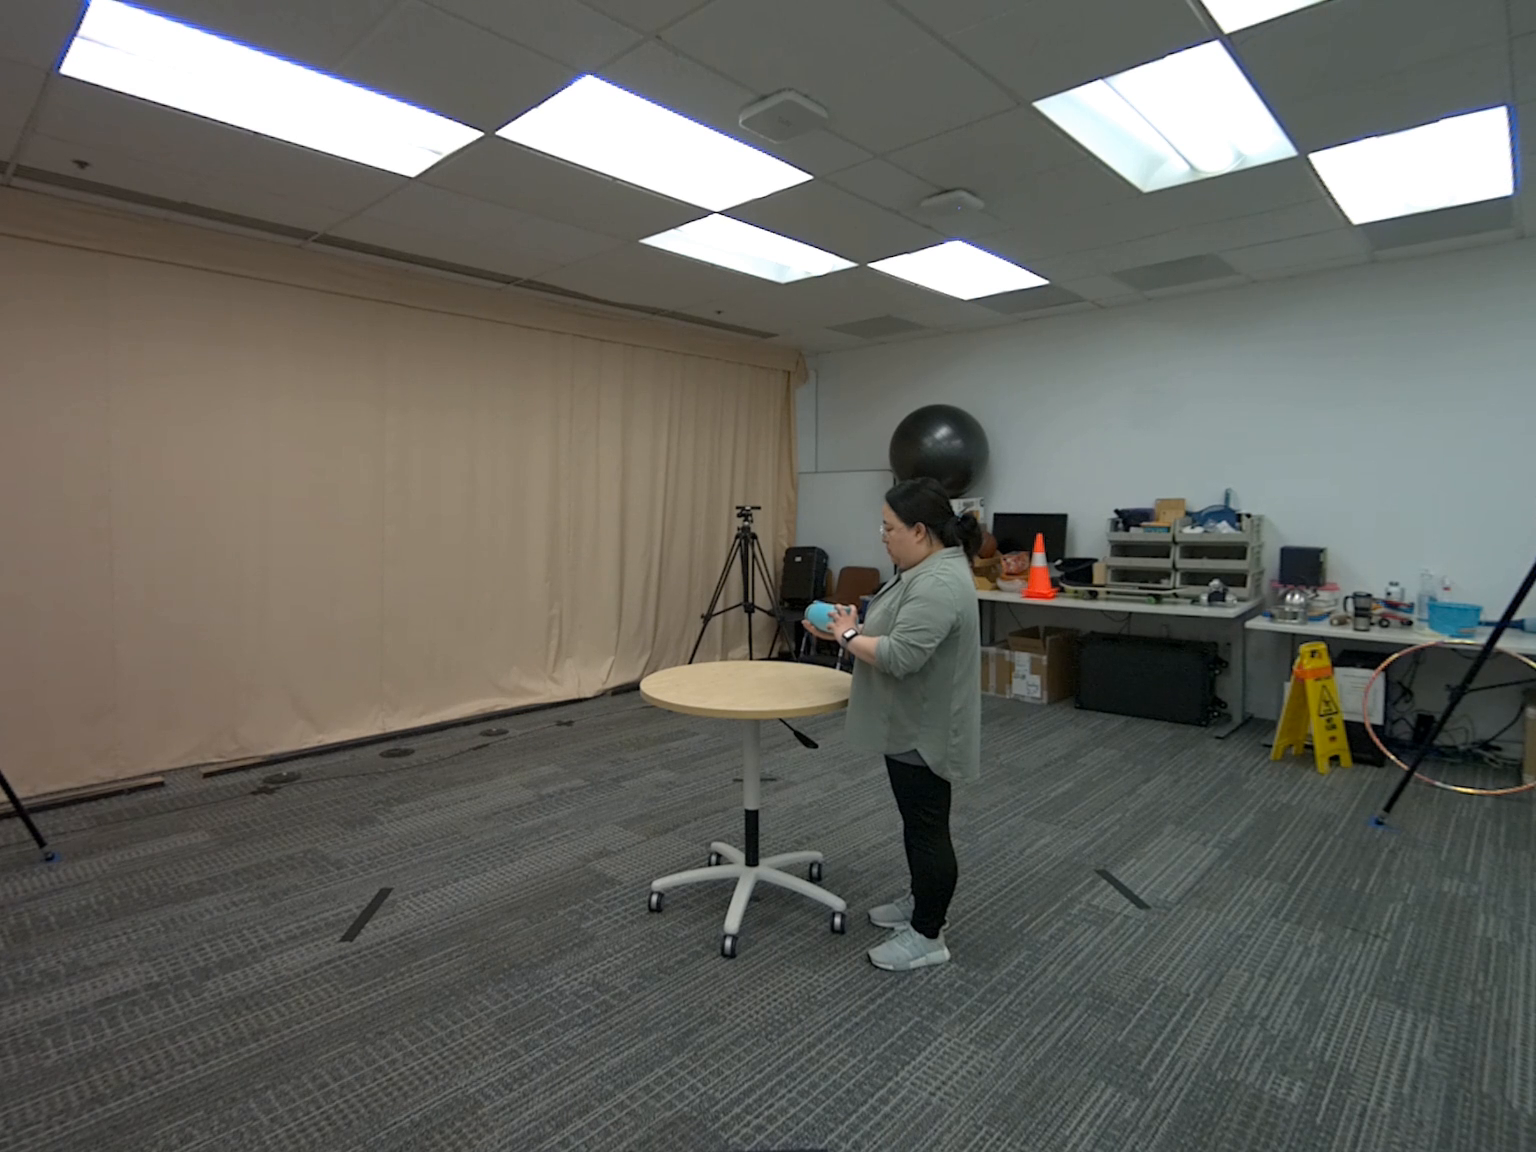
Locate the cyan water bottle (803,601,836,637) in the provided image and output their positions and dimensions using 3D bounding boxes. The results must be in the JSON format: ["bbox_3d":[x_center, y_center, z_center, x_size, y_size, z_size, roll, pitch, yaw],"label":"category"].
[{"bbox_3d":[0.207,0.138,2.731,0.091,0.092,0.289,-1,4,-18],"label":"cyan water bottle"}]
